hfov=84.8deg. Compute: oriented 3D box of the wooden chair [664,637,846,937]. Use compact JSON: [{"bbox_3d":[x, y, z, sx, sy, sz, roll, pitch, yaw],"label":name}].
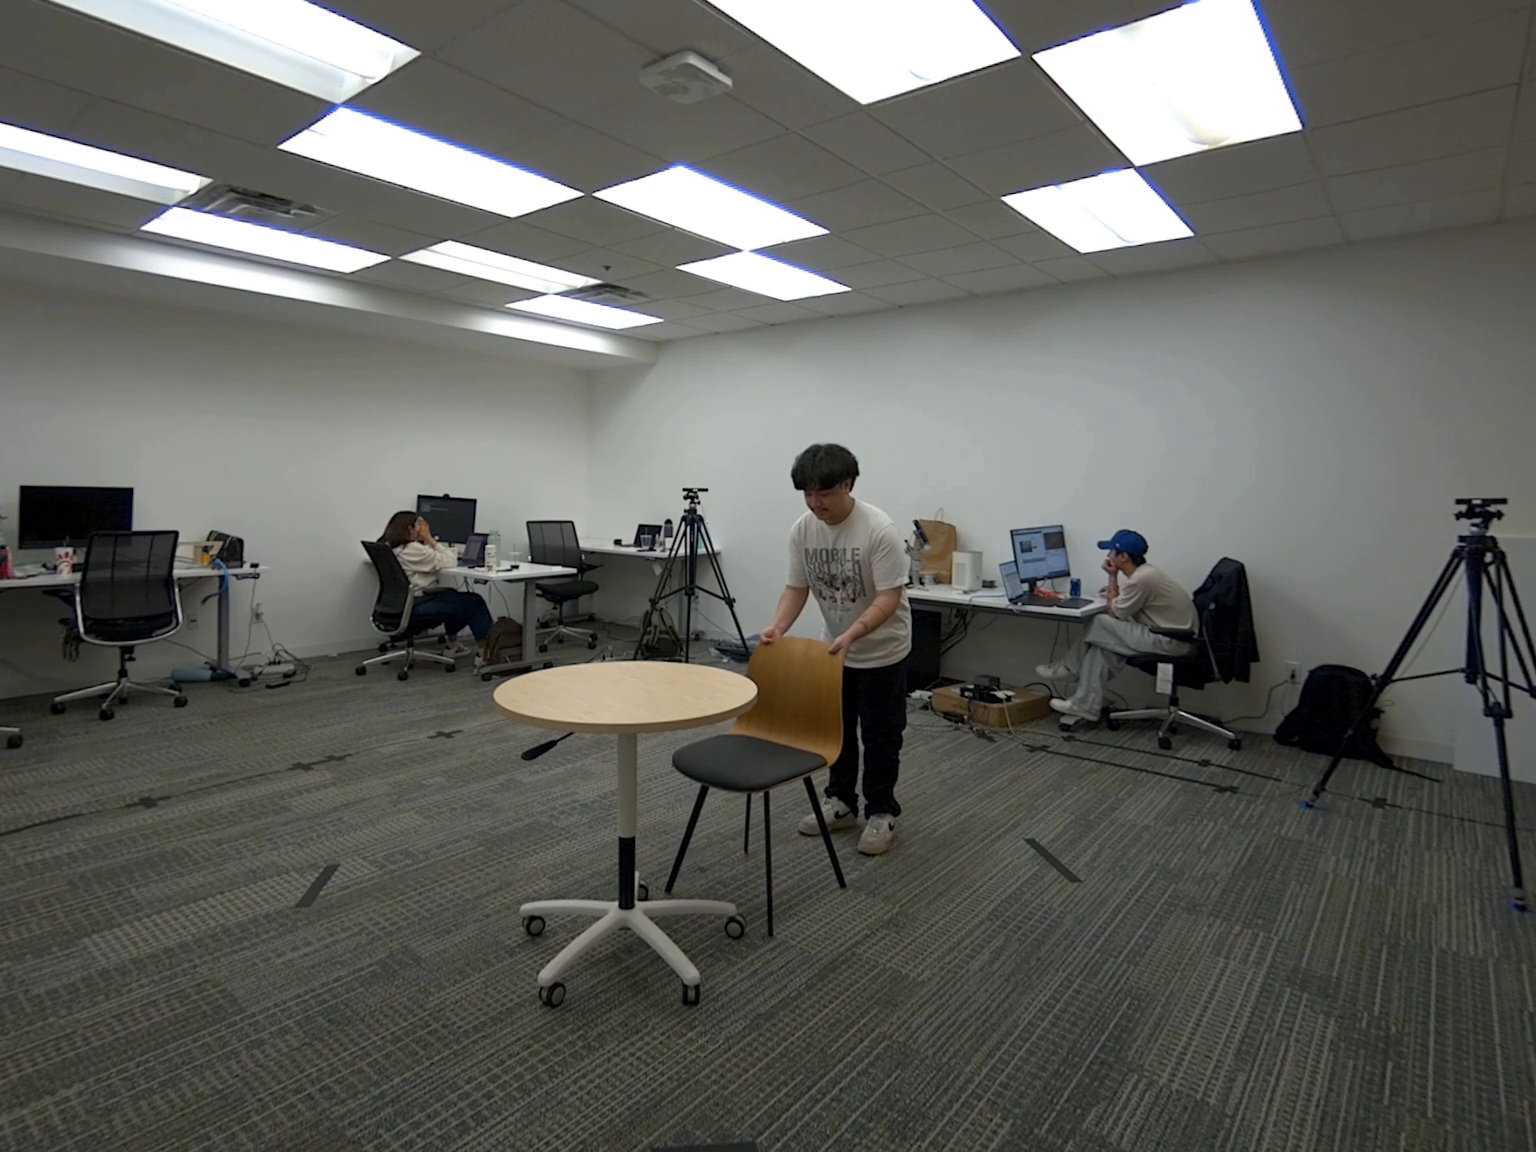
[{"bbox_3d":[-0.041,0.661,2.925,0.494,0.877,0.506,4,0,38],"label":"wooden chair"}]
